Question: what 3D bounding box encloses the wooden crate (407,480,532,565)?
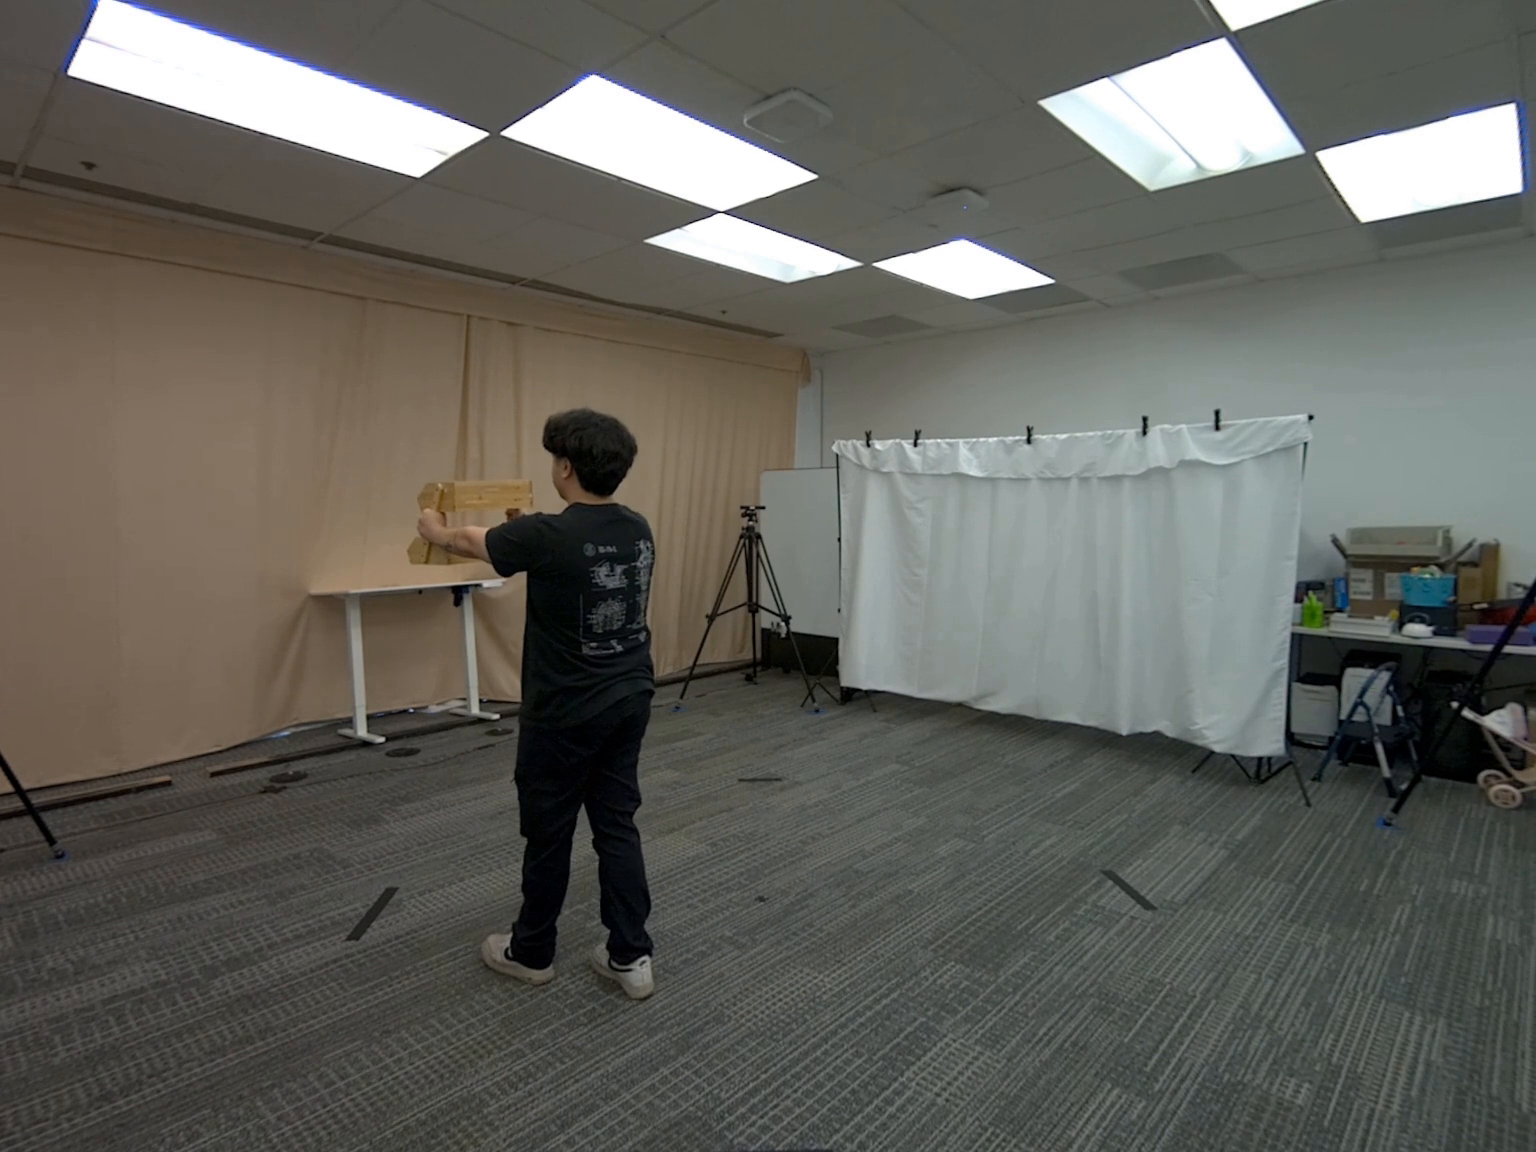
[{"bbox_3d":[-1.006,-0.187,2.797,0.312,0.272,0.315,2,7,39],"label":"wooden crate"}]
